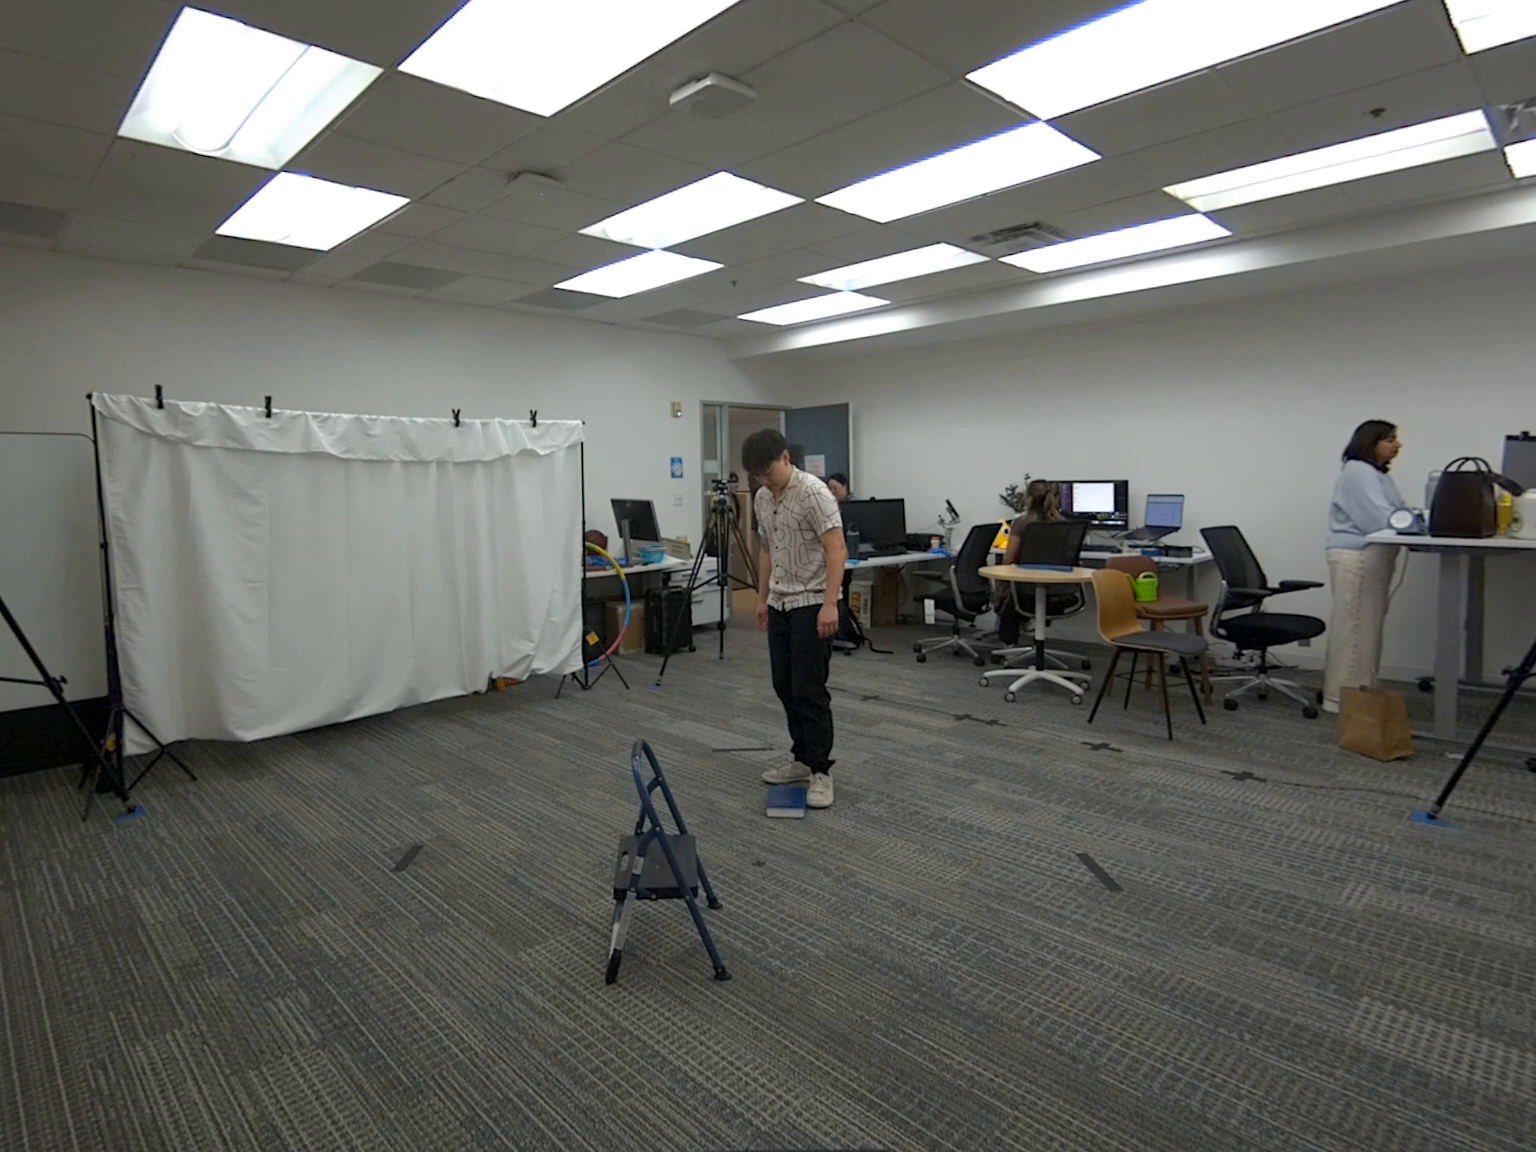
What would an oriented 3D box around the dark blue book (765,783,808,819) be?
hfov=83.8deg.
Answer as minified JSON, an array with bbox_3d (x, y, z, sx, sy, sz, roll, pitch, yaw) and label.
[{"bbox_3d":[0.084,0.963,3.643,0.164,0.045,0.245,0,6,5],"label":"dark blue book"}]
